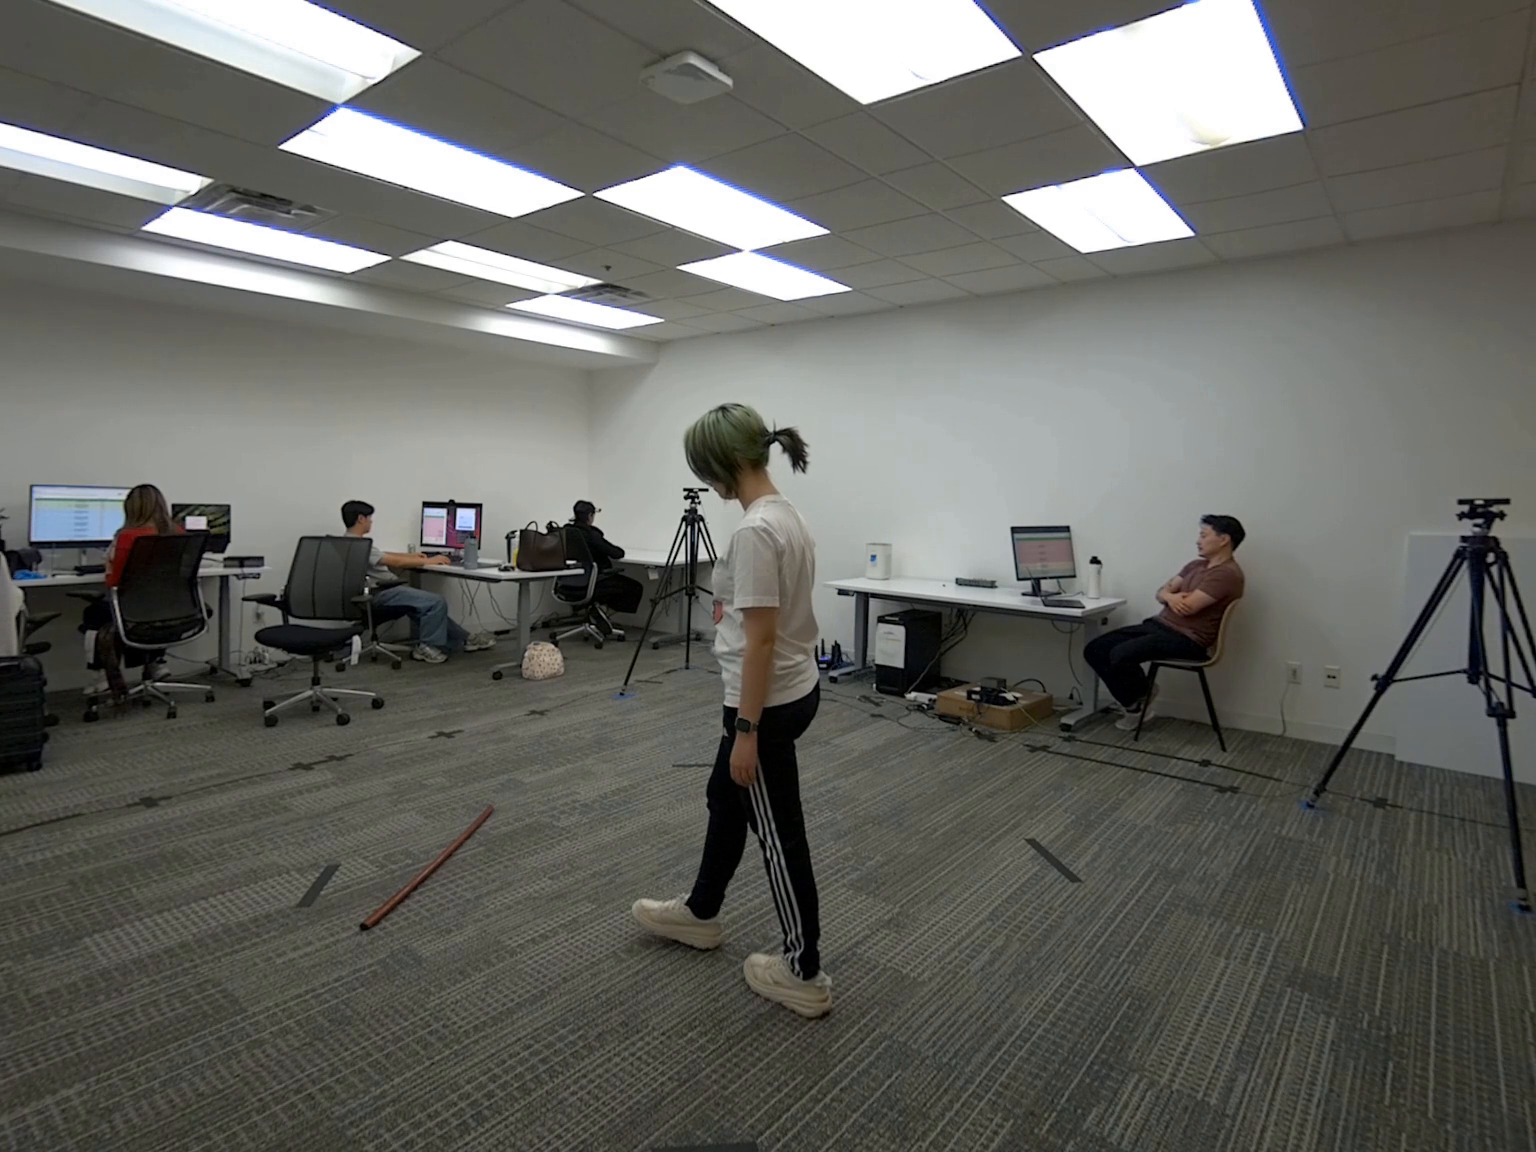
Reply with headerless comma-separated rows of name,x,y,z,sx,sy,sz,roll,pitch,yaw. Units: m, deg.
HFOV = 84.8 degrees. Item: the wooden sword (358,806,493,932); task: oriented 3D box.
wooden sword,-1.206,1.027,3.135,0.051,0.024,1.023,36,6,-1
